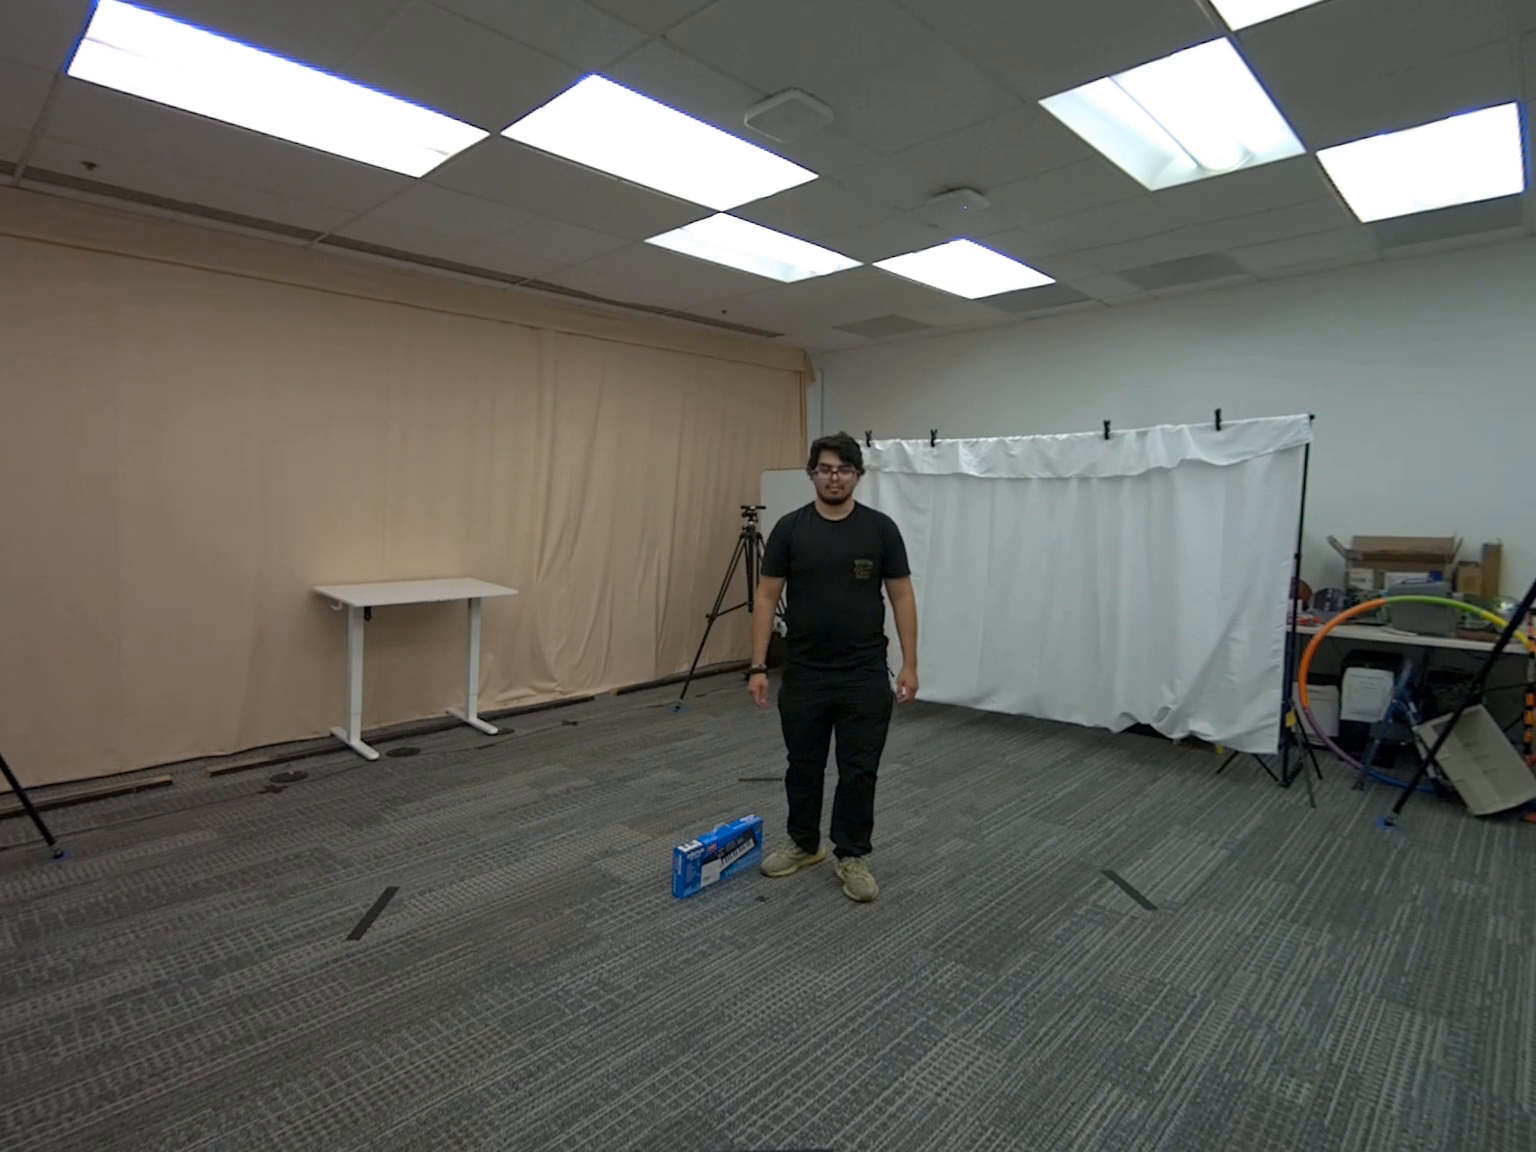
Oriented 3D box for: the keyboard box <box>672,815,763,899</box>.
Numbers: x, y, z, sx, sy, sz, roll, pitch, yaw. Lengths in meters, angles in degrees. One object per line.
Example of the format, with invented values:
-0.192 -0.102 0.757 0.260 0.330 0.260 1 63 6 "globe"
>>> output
-0.182 1.047 3.153 0.061 0.175 0.424 9 9 40 "keyboard box"
